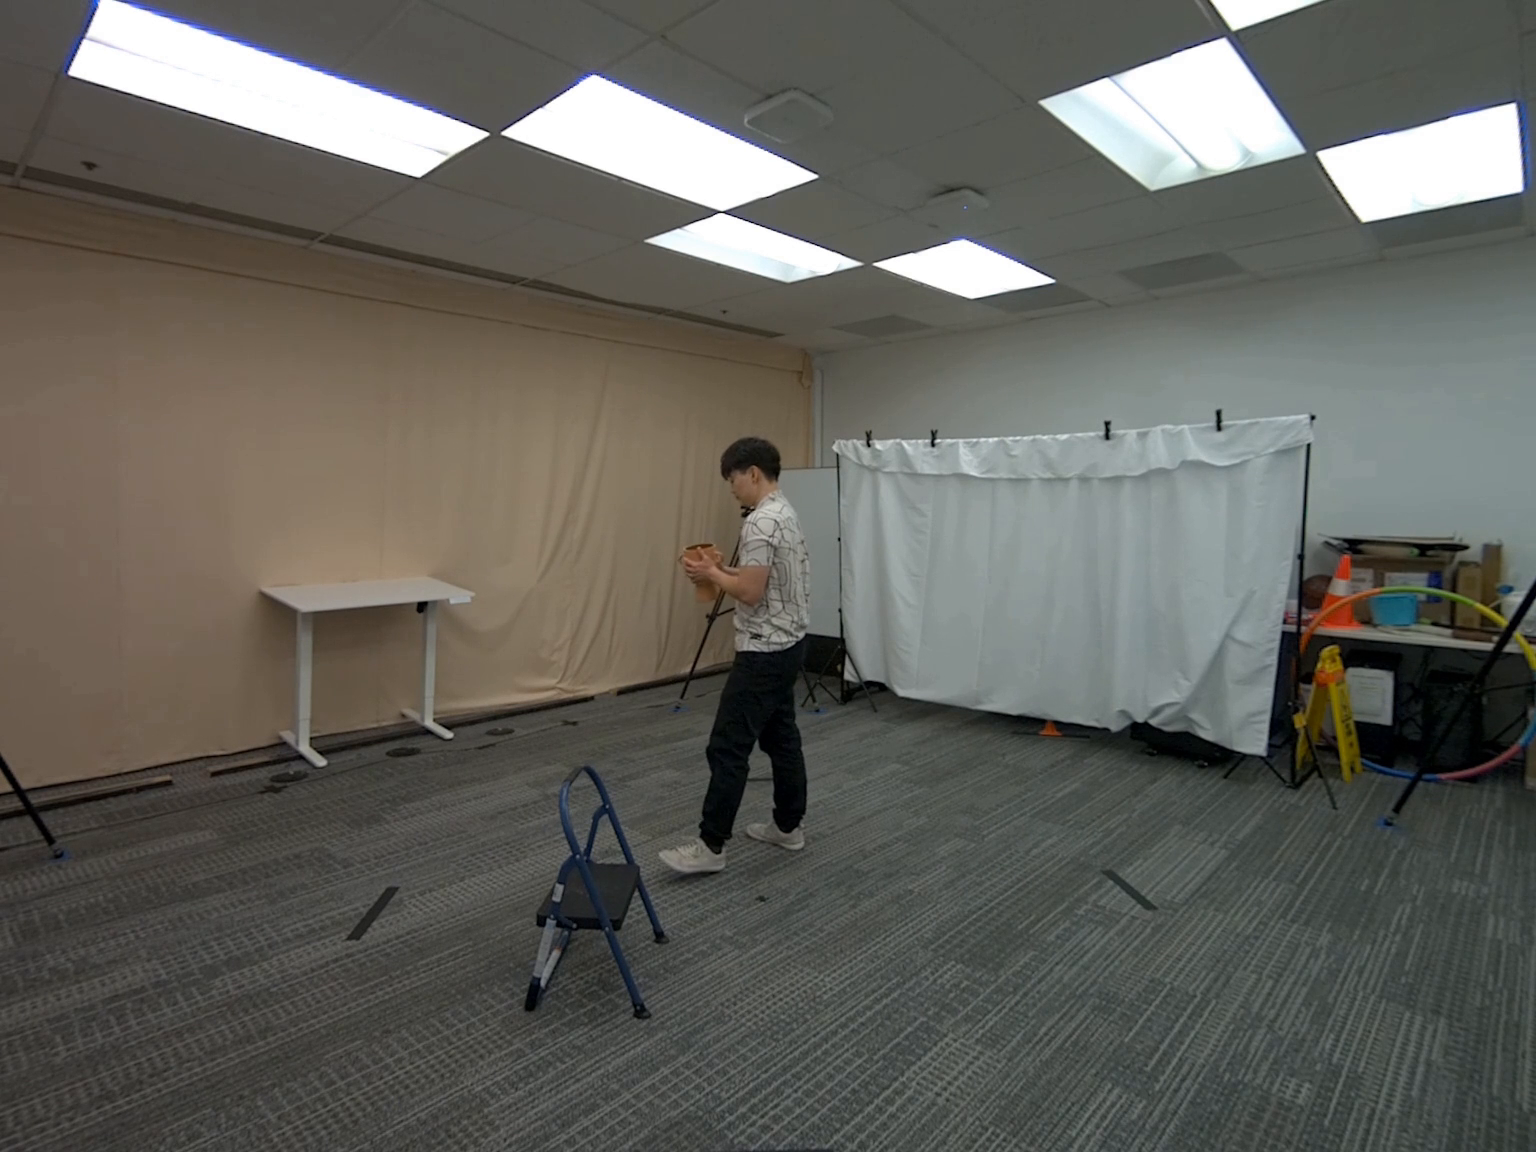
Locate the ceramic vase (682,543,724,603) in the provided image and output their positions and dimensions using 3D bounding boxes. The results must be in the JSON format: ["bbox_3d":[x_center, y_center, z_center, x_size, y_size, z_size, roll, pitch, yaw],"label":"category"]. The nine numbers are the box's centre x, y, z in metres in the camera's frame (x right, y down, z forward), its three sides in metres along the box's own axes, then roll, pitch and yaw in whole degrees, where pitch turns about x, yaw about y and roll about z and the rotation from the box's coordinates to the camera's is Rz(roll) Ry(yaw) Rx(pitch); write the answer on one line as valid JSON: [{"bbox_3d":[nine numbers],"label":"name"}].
[{"bbox_3d":[-0.264,-0.008,3.431,0.131,0.218,0.164,-15,14,-34],"label":"ceramic vase"}]
